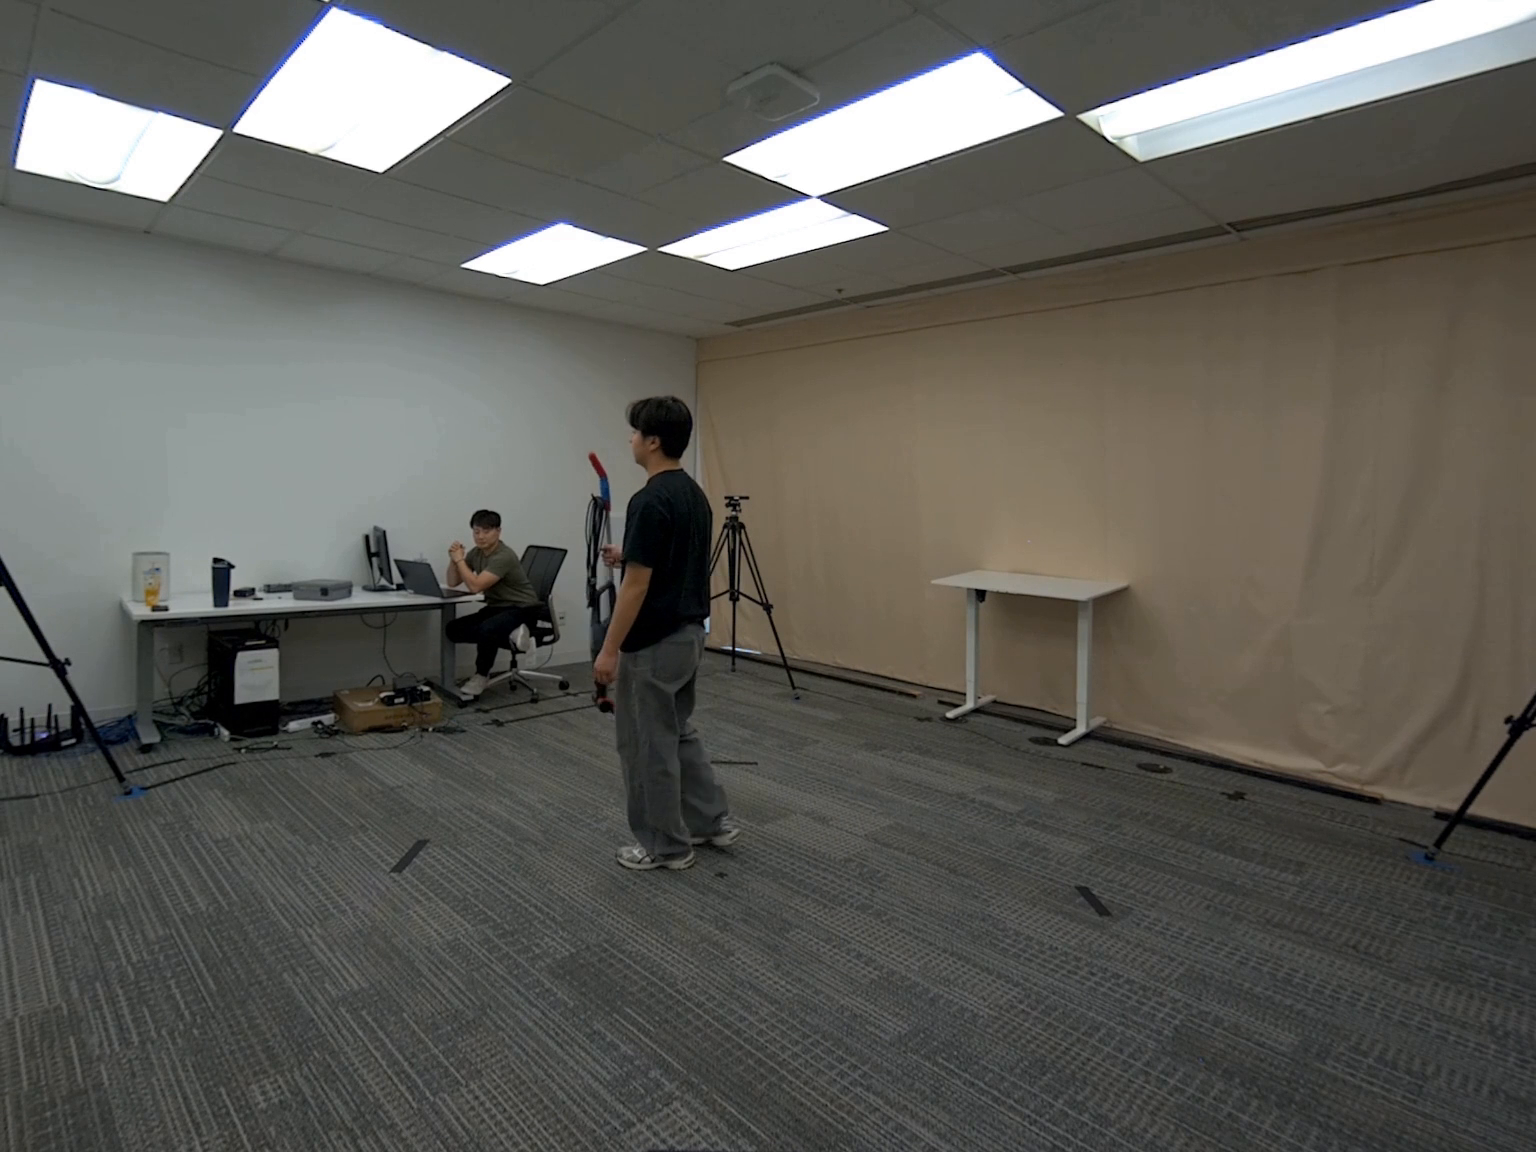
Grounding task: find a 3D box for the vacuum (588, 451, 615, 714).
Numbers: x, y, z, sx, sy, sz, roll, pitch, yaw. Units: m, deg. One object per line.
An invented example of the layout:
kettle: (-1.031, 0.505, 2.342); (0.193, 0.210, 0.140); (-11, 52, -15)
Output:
vacuum: (-0.683, 0.041, 3.376); (0.142, 1.041, 0.258); (-6, 11, -24)
